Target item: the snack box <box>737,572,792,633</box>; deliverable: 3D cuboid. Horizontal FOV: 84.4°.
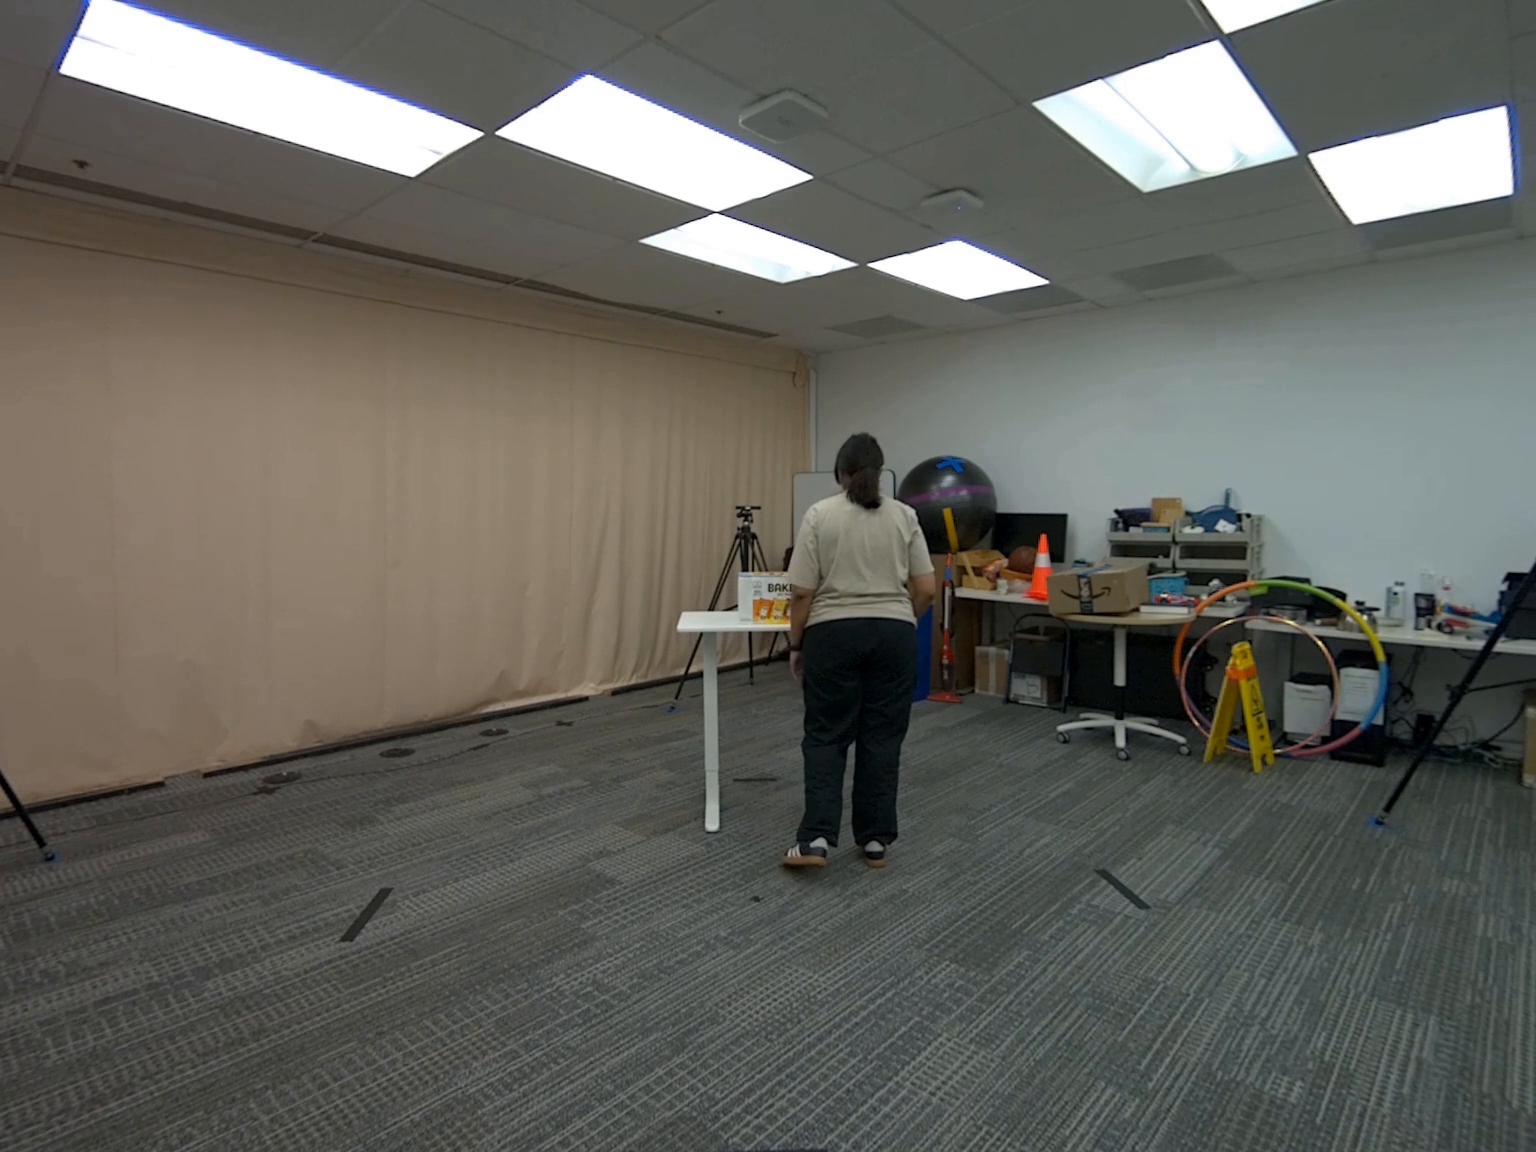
[{"bbox_3d":[0.069,0.096,3.809,0.405,0.205,0.341,-1,3,-1],"label":"snack box"}]
